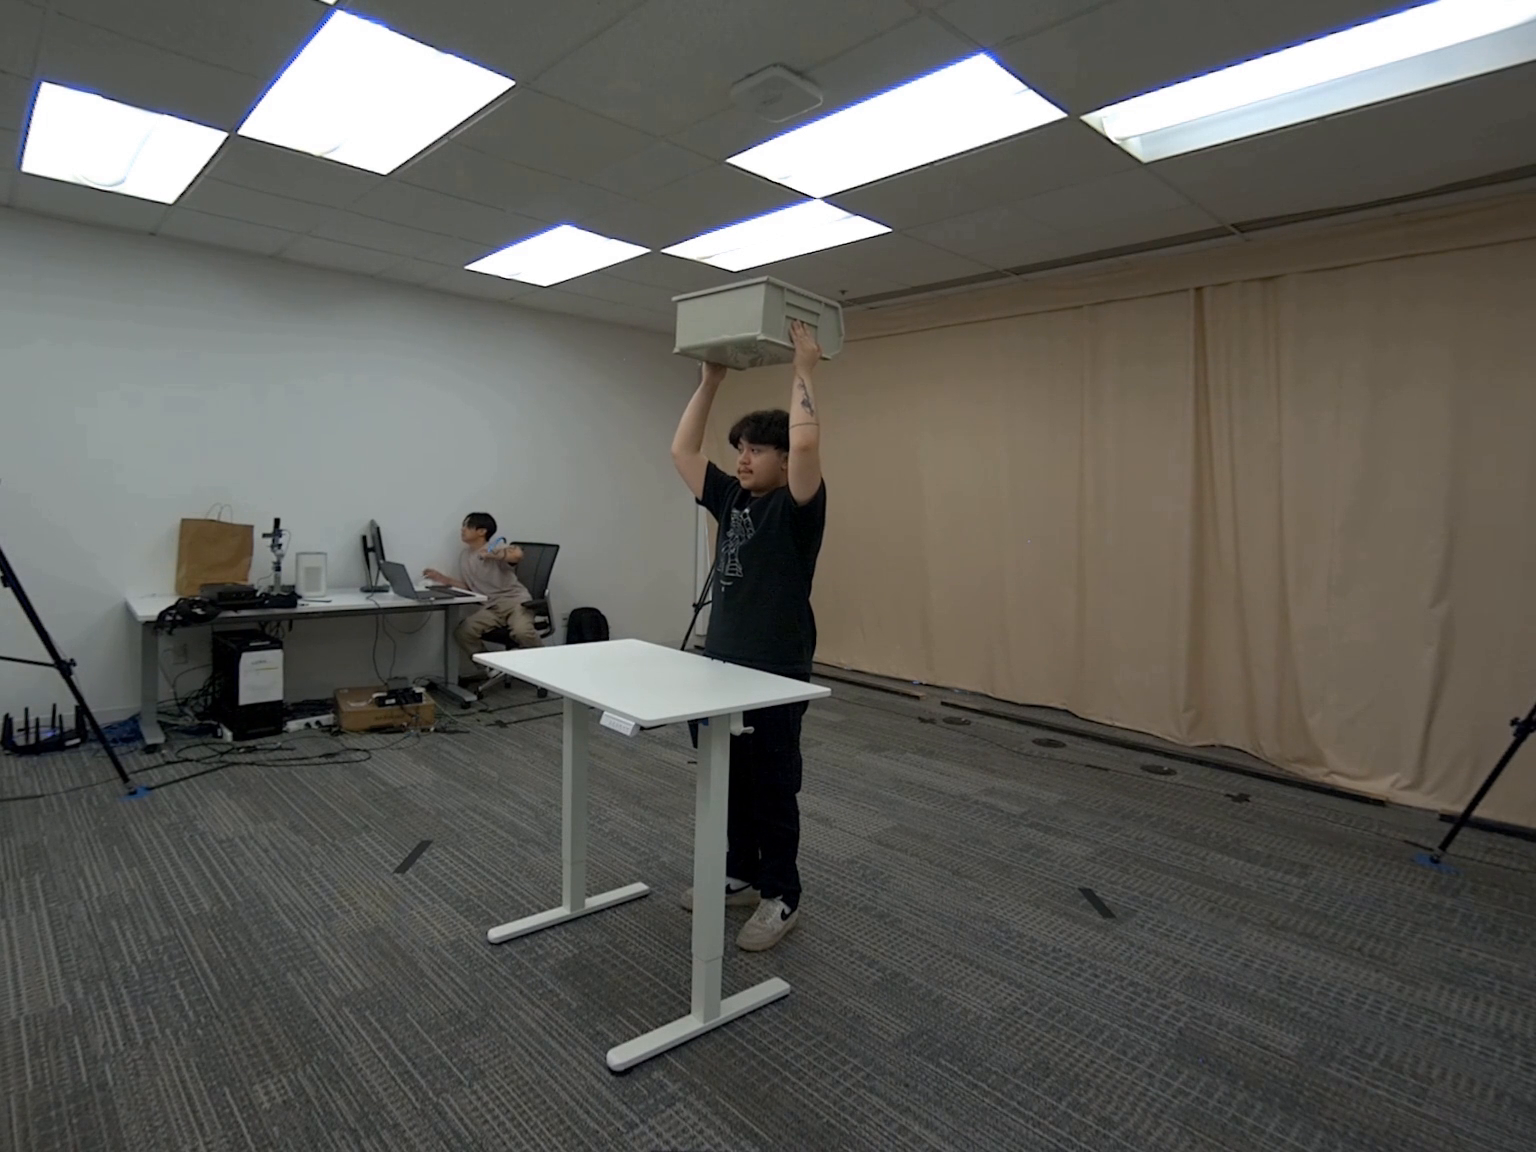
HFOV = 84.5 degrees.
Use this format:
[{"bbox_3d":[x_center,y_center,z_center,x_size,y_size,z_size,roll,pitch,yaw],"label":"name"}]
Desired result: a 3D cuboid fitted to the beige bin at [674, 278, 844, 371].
[{"bbox_3d":[-0.038,-0.787,2.696,0.433,0.189,0.368,7,4,44],"label":"beige bin"}]
